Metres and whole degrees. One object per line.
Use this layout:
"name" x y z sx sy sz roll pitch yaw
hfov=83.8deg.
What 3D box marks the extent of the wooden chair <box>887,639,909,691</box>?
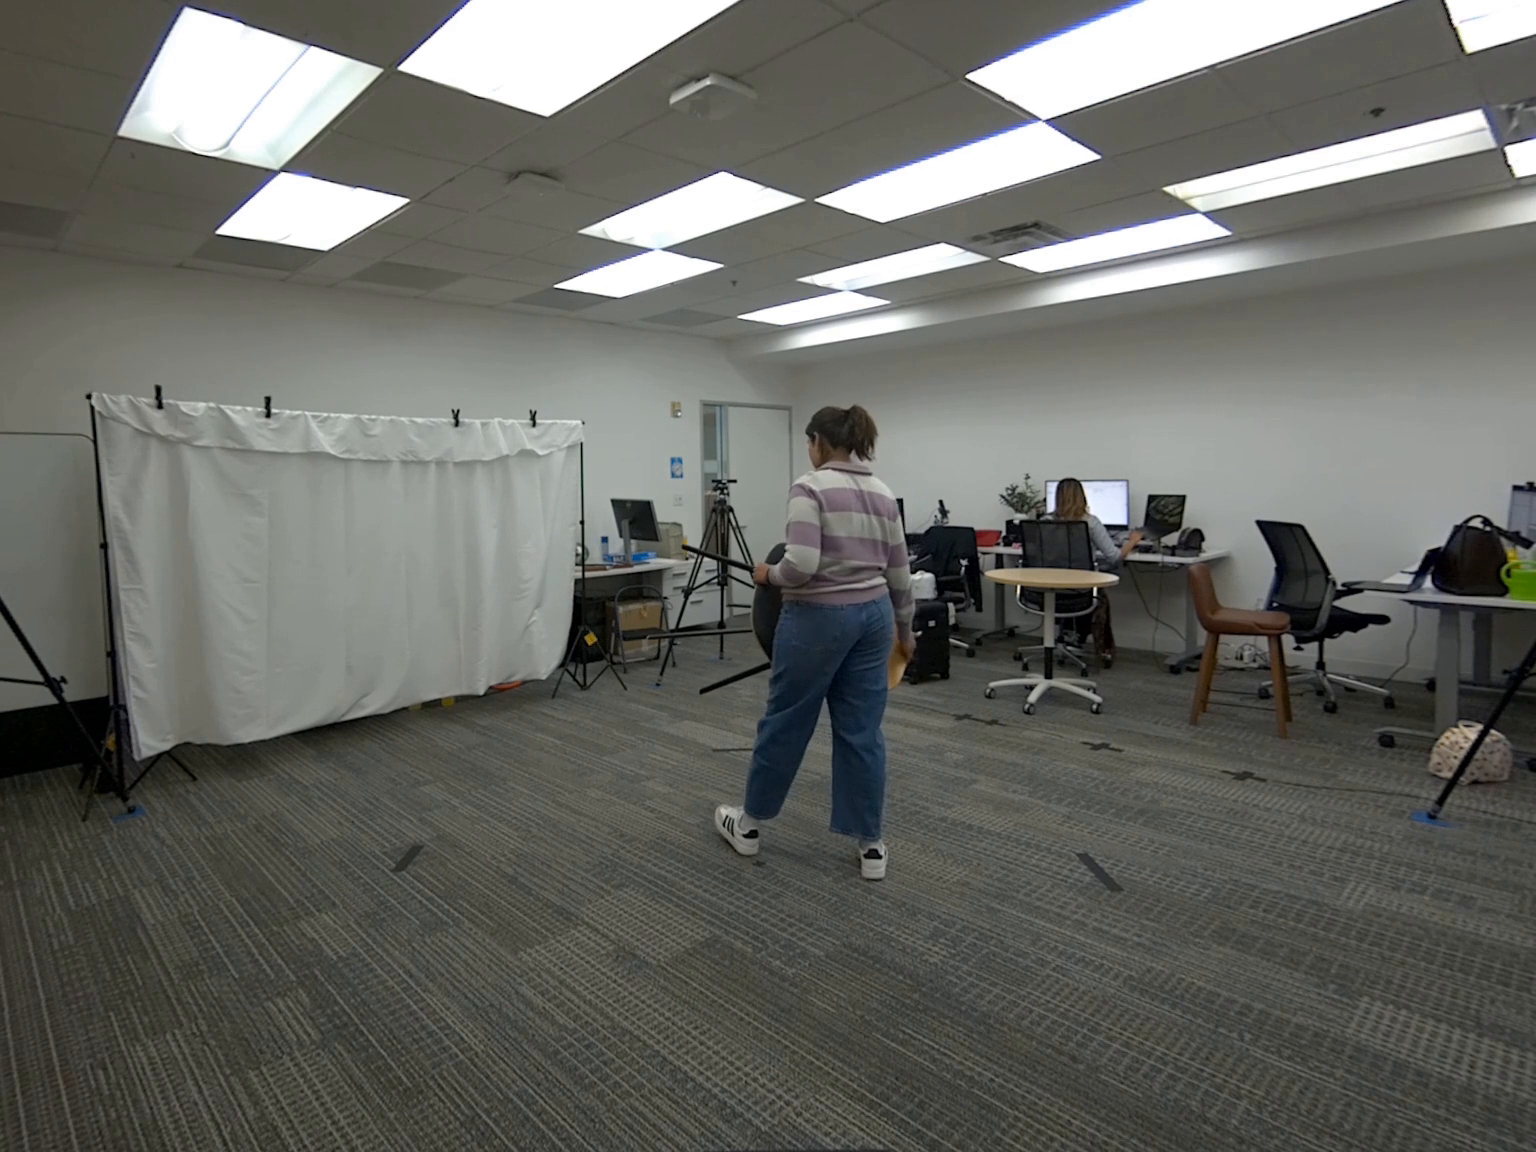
"wooden chair" 0.064 0.166 3.328 0.898 0.485 0.503 0 -36 27
